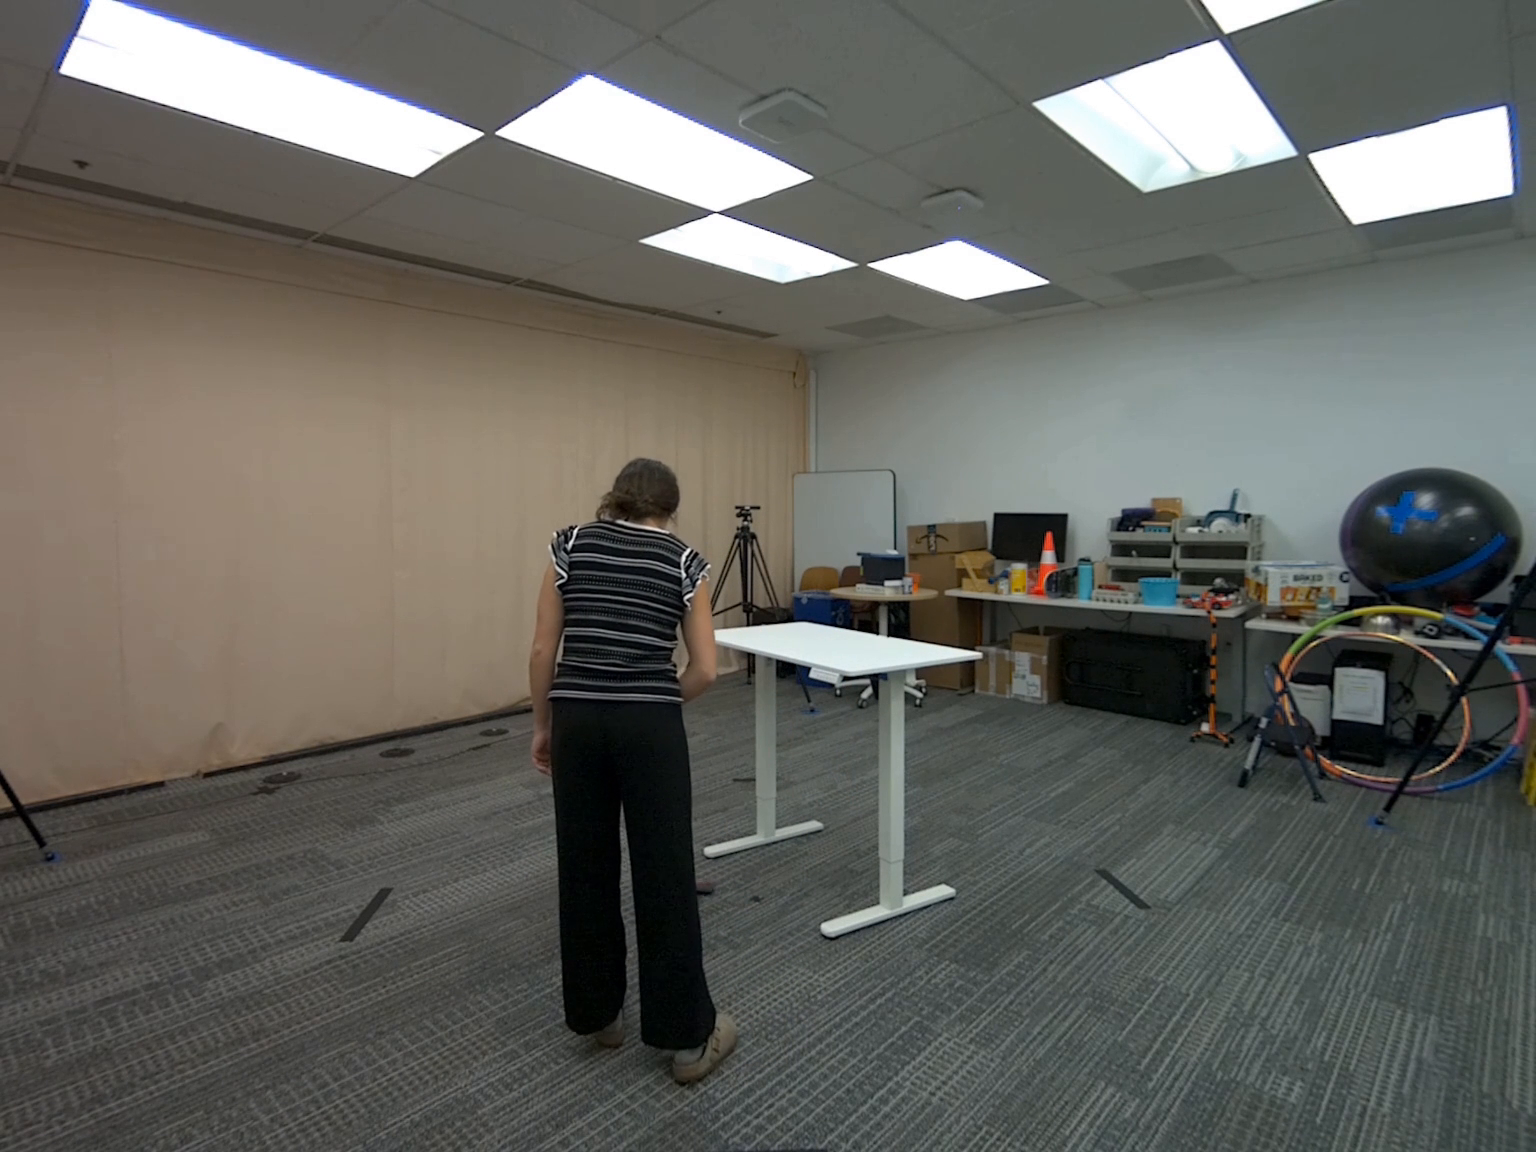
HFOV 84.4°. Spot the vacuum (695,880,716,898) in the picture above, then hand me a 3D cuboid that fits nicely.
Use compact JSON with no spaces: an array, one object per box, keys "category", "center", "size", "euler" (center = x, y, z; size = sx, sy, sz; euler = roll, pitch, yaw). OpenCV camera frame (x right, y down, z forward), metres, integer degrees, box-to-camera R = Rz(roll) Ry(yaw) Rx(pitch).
[{"category":"vacuum","center":[-0.340,0.780,2.653],"size":[0.253,1.027,0.147],"euler":[-3,45,0]}]
